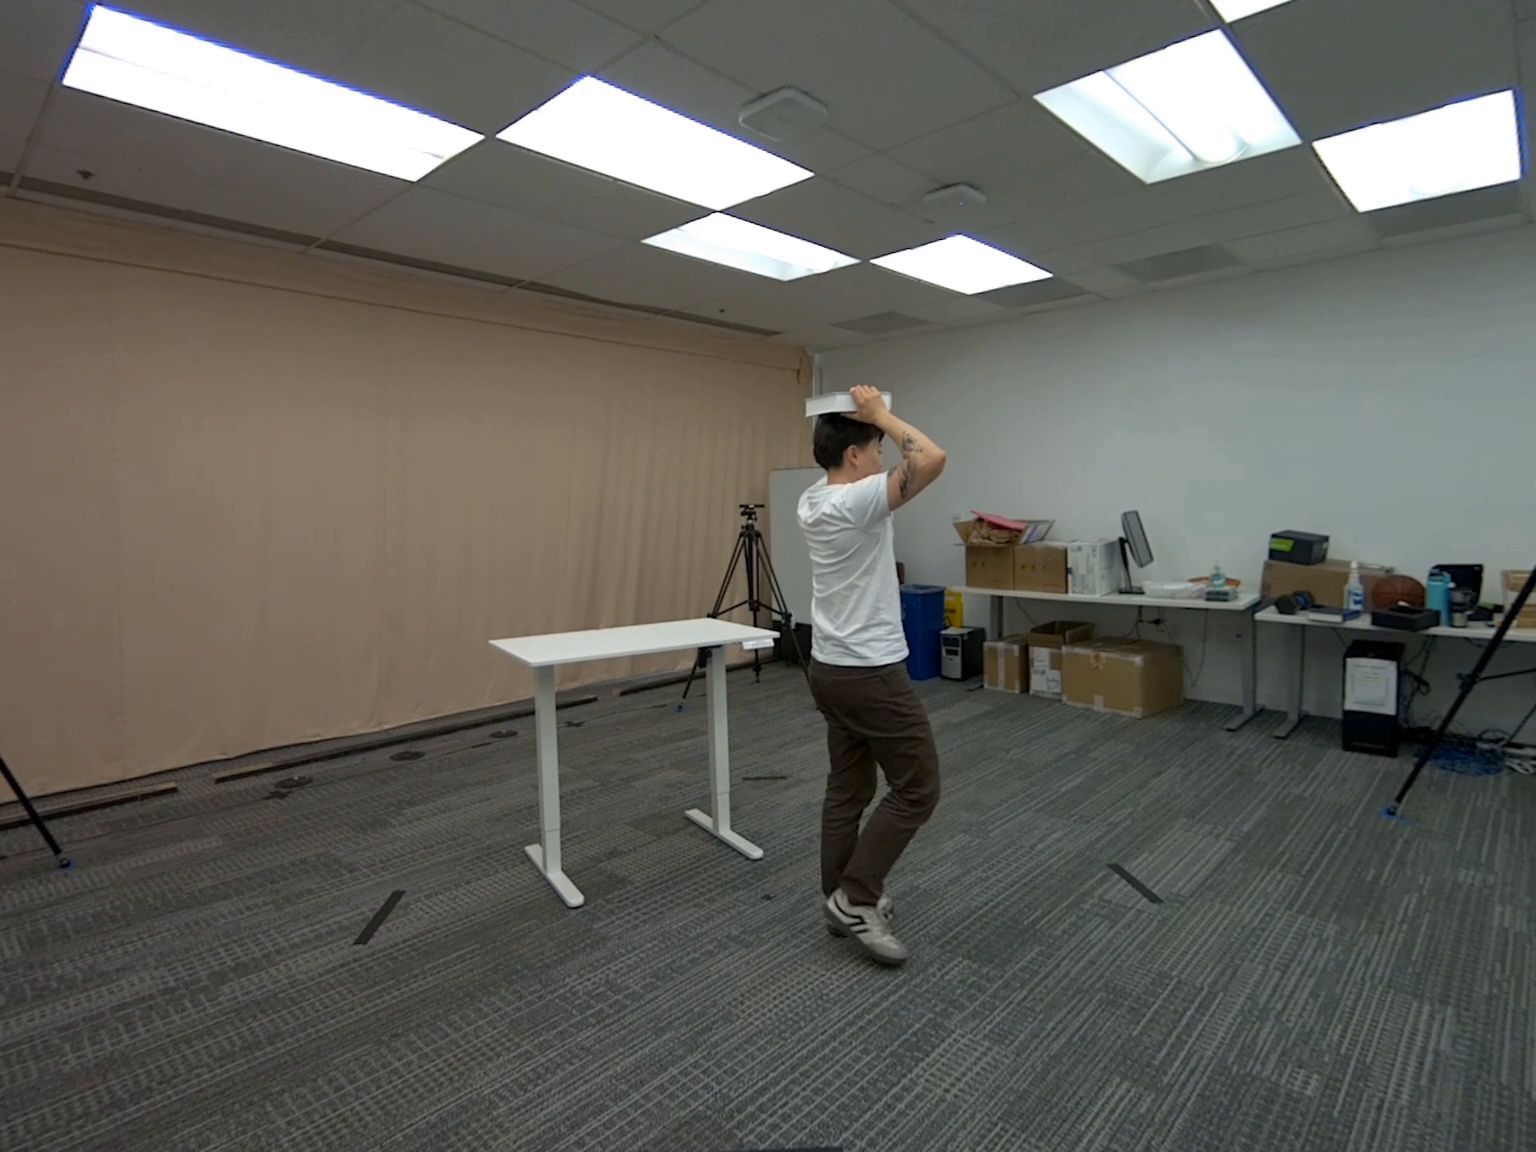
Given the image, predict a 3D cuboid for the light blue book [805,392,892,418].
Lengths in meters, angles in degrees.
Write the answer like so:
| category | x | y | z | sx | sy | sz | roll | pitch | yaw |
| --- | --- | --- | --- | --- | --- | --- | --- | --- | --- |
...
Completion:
| category | x | y | z | sx | sy | sz | roll | pitch | yaw |
| --- | --- | --- | --- | --- | --- | --- | --- | --- | --- |
| light blue book | 0.256 | -0.547 | 2.676 | 0.188 | 0.059 | 0.266 | -4 | 8 | -16 |
